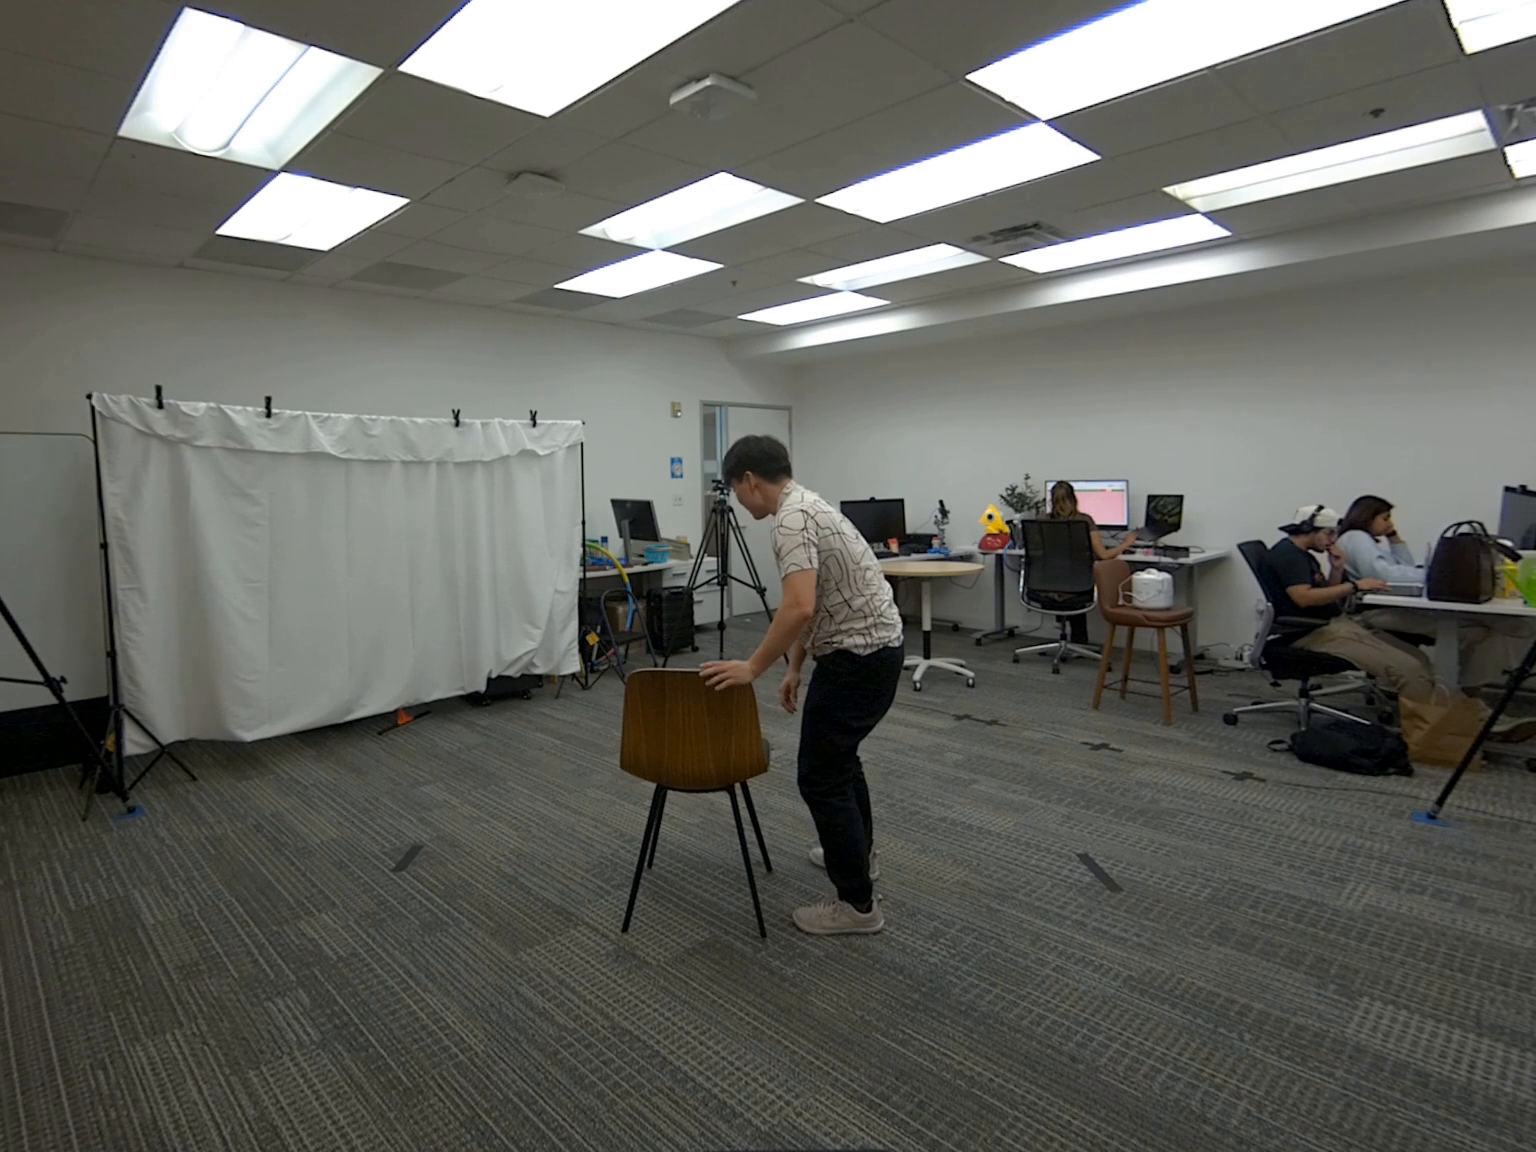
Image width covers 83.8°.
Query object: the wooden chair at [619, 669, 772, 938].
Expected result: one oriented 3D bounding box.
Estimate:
[{"bbox_3d":[-0.225,0.656,2.823,0.480,0.871,0.525,-1,8,4],"label":"wooden chair"}]
